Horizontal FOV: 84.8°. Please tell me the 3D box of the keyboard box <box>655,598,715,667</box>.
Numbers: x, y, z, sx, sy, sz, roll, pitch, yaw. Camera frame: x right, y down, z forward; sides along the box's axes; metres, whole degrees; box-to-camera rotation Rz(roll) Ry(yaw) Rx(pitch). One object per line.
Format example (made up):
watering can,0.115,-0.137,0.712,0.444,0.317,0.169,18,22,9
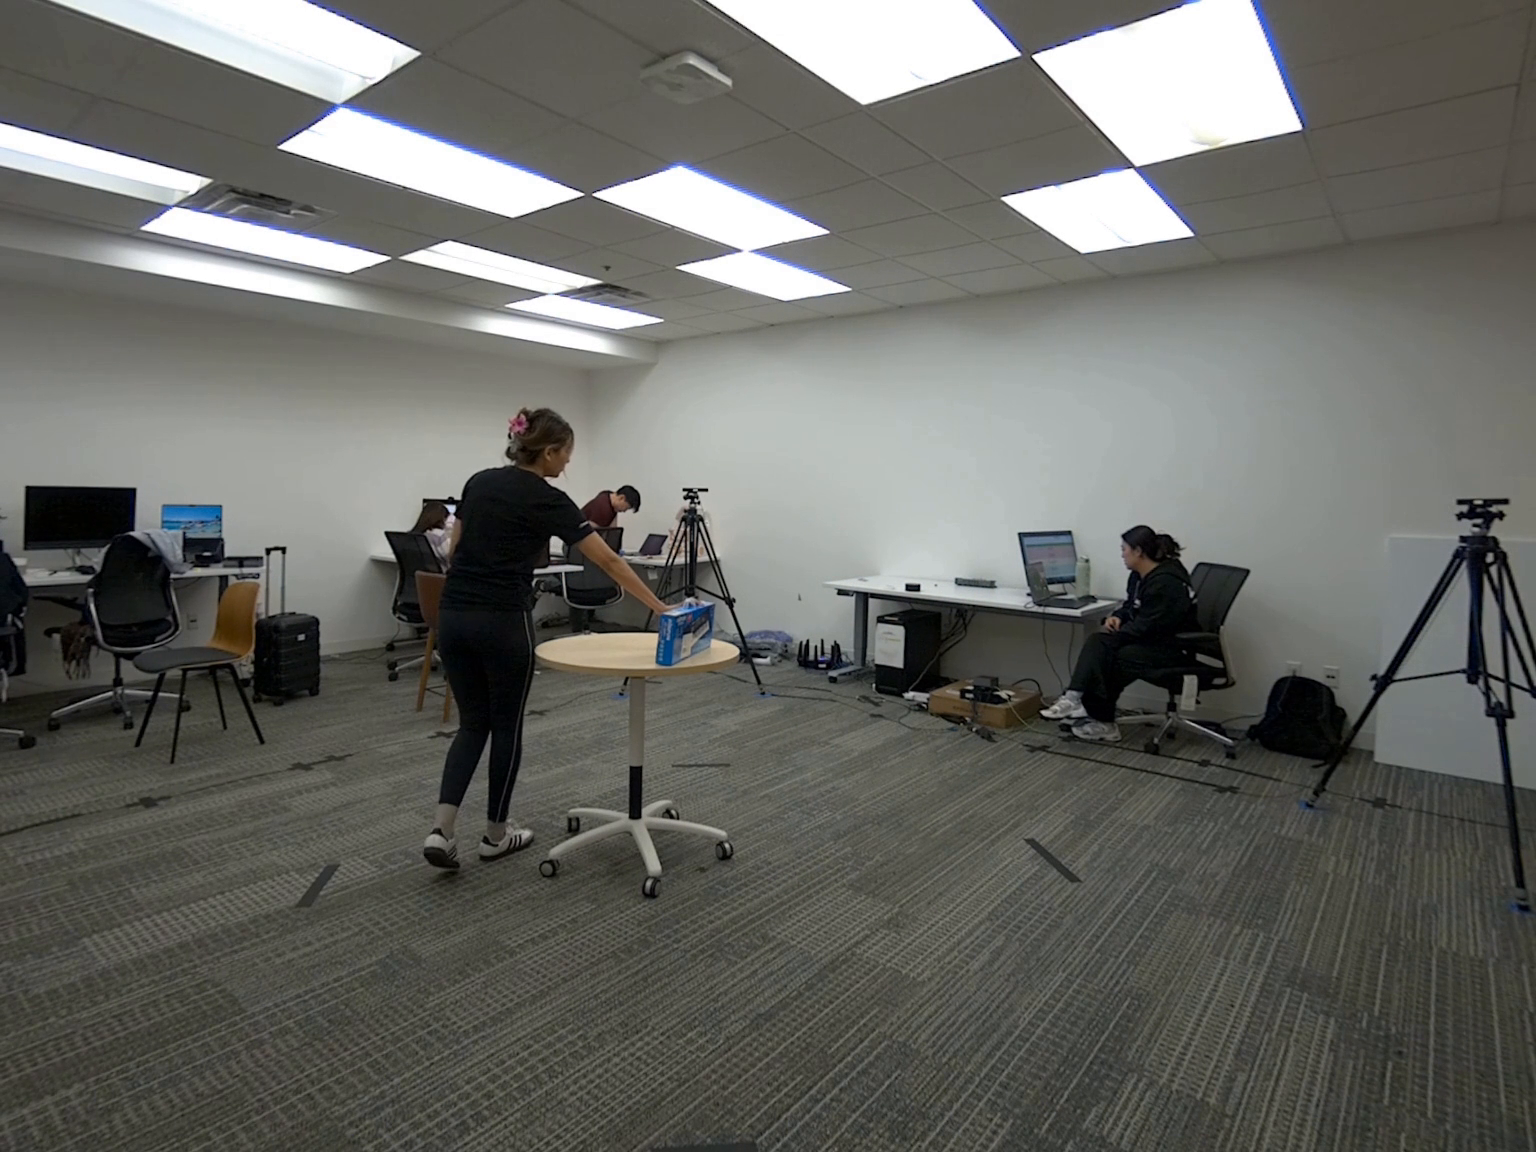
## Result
keyboard box,-0.308,0.199,3.080,0.060,0.175,0.431,6,5,13
